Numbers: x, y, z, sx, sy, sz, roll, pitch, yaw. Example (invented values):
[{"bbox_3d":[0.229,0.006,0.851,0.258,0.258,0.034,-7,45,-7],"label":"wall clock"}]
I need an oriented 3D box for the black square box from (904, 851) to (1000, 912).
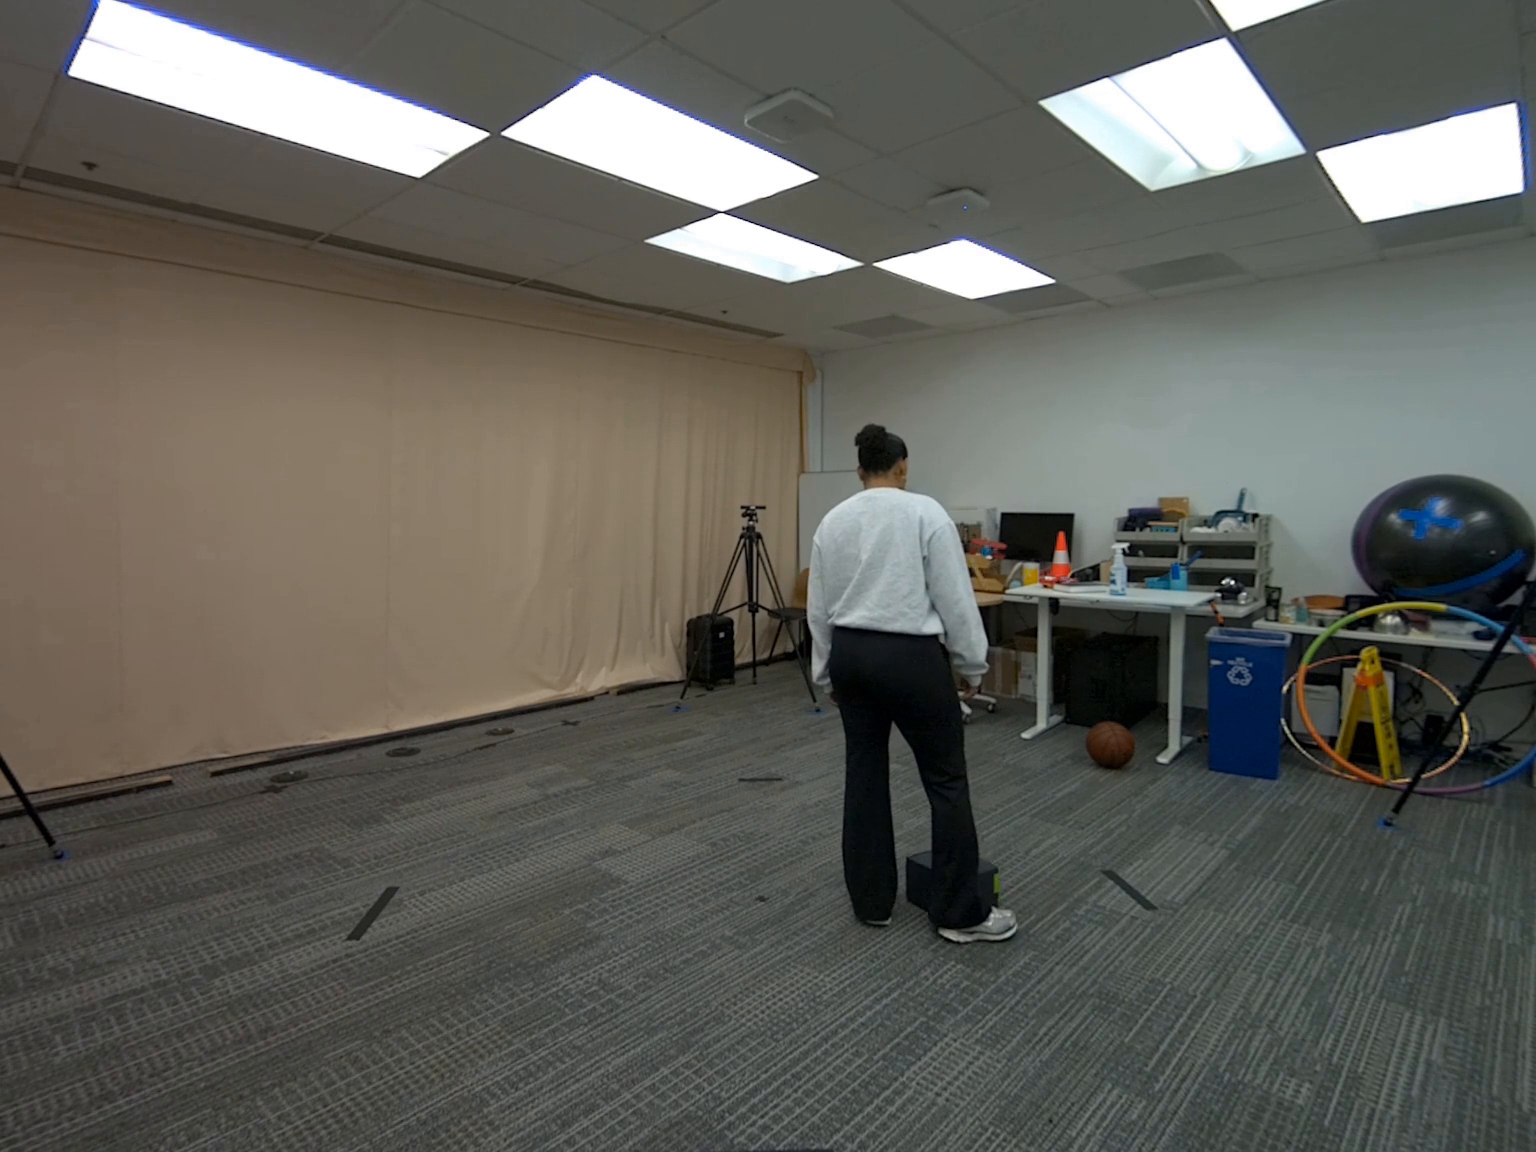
[{"bbox_3d":[0.645,1.066,2.922,0.211,0.155,0.235,-3,5,-33],"label":"black square box"}]
